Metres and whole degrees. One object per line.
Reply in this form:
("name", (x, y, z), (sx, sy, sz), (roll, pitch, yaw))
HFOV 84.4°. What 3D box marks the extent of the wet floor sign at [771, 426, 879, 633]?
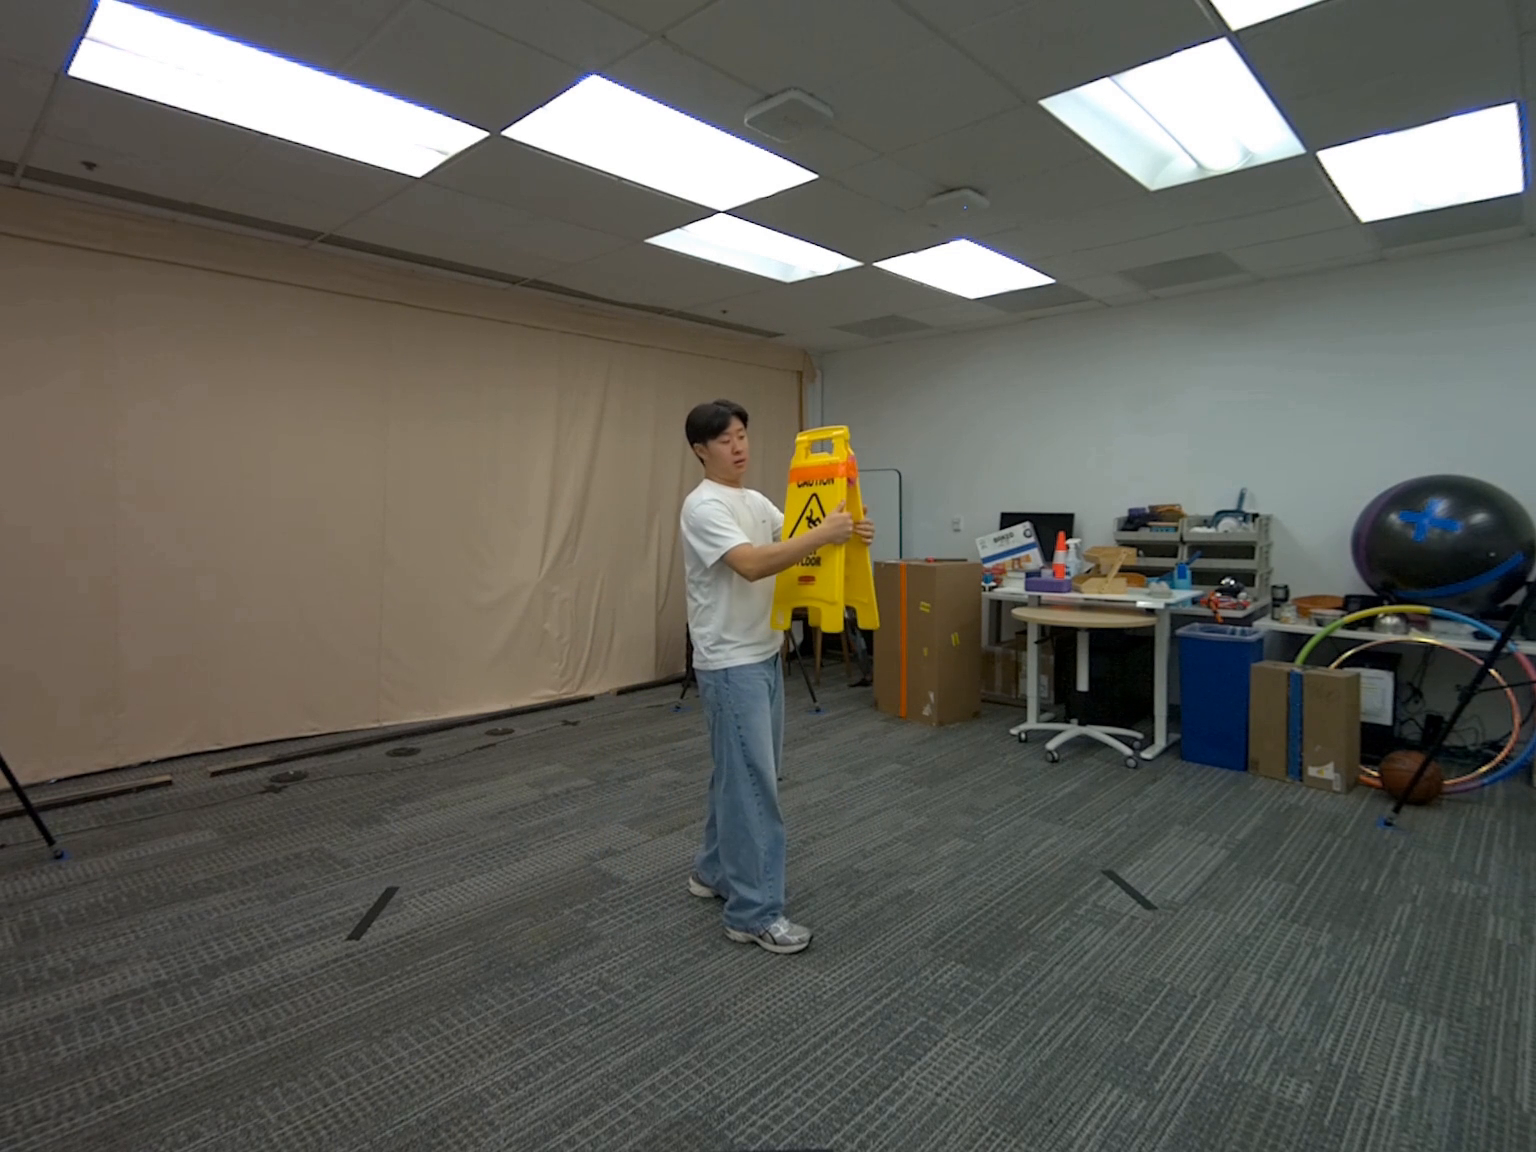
("wet floor sign", (0.188, -0.153, 2.722), (0.291, 0.647, 0.280), (-3, -3, 41))
